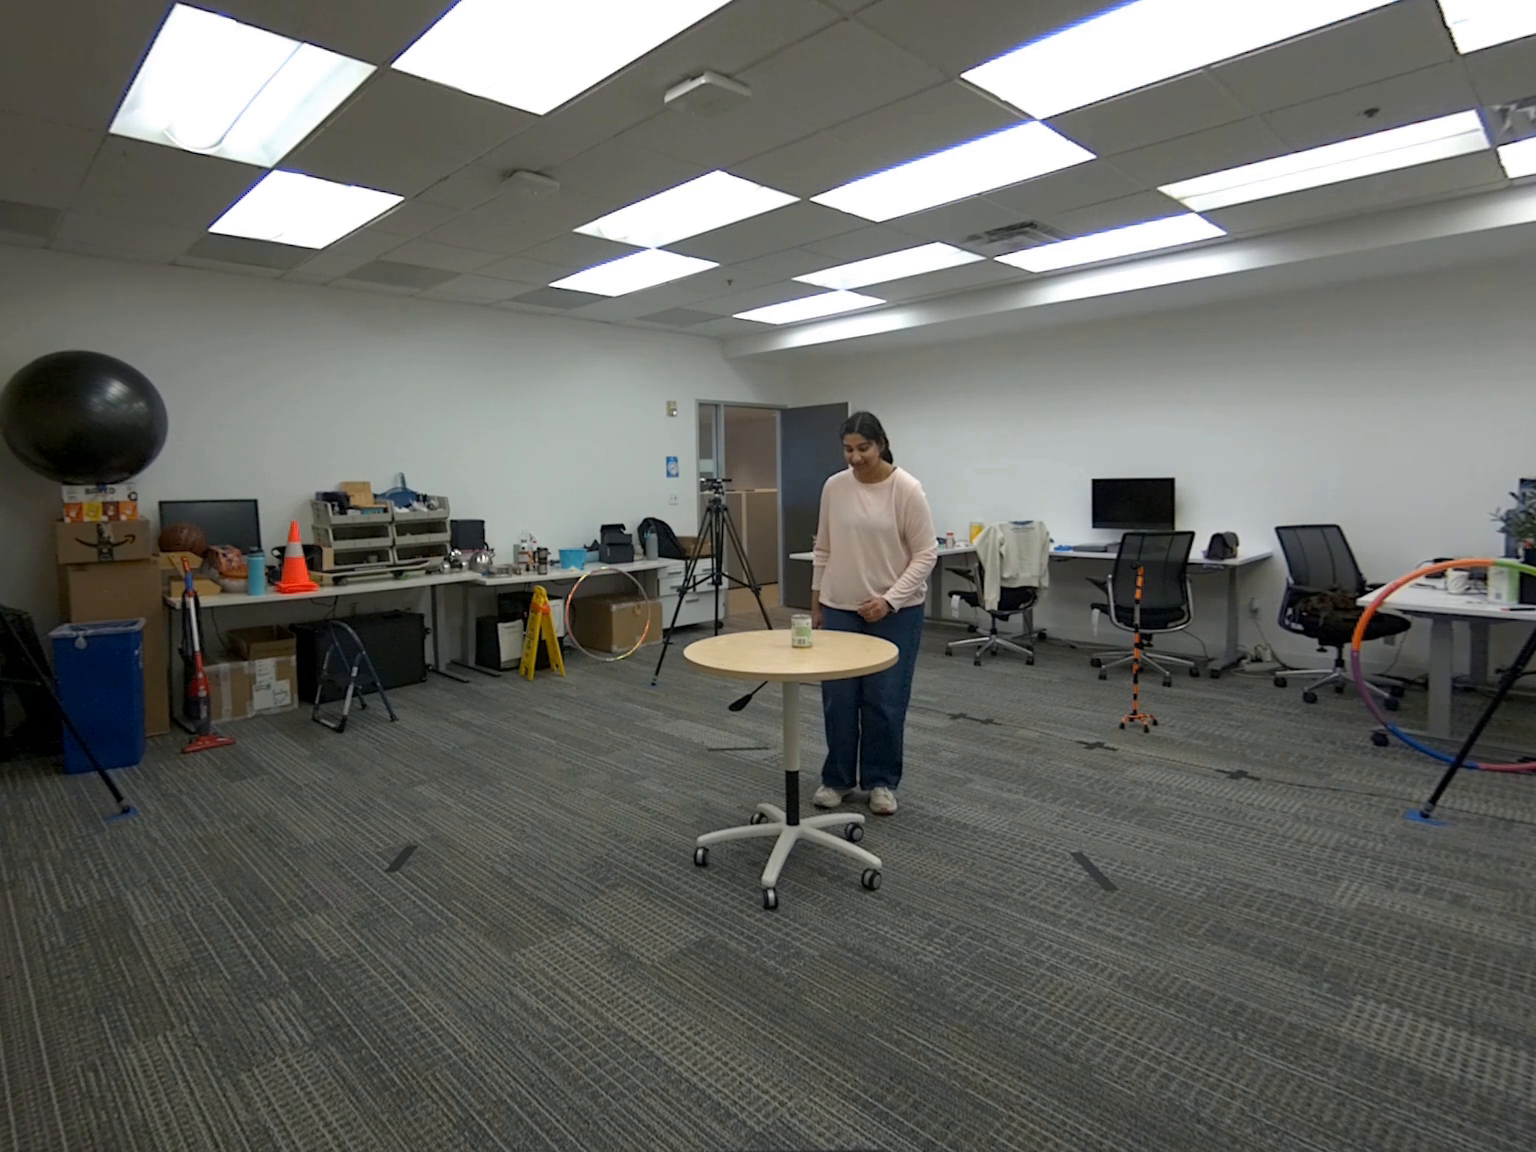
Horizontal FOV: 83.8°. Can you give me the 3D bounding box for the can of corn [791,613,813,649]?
[{"bbox_3d":[0.127,0.201,3.097,0.074,0.110,0.074,-1,5,-2],"label":"can of corn"}]
